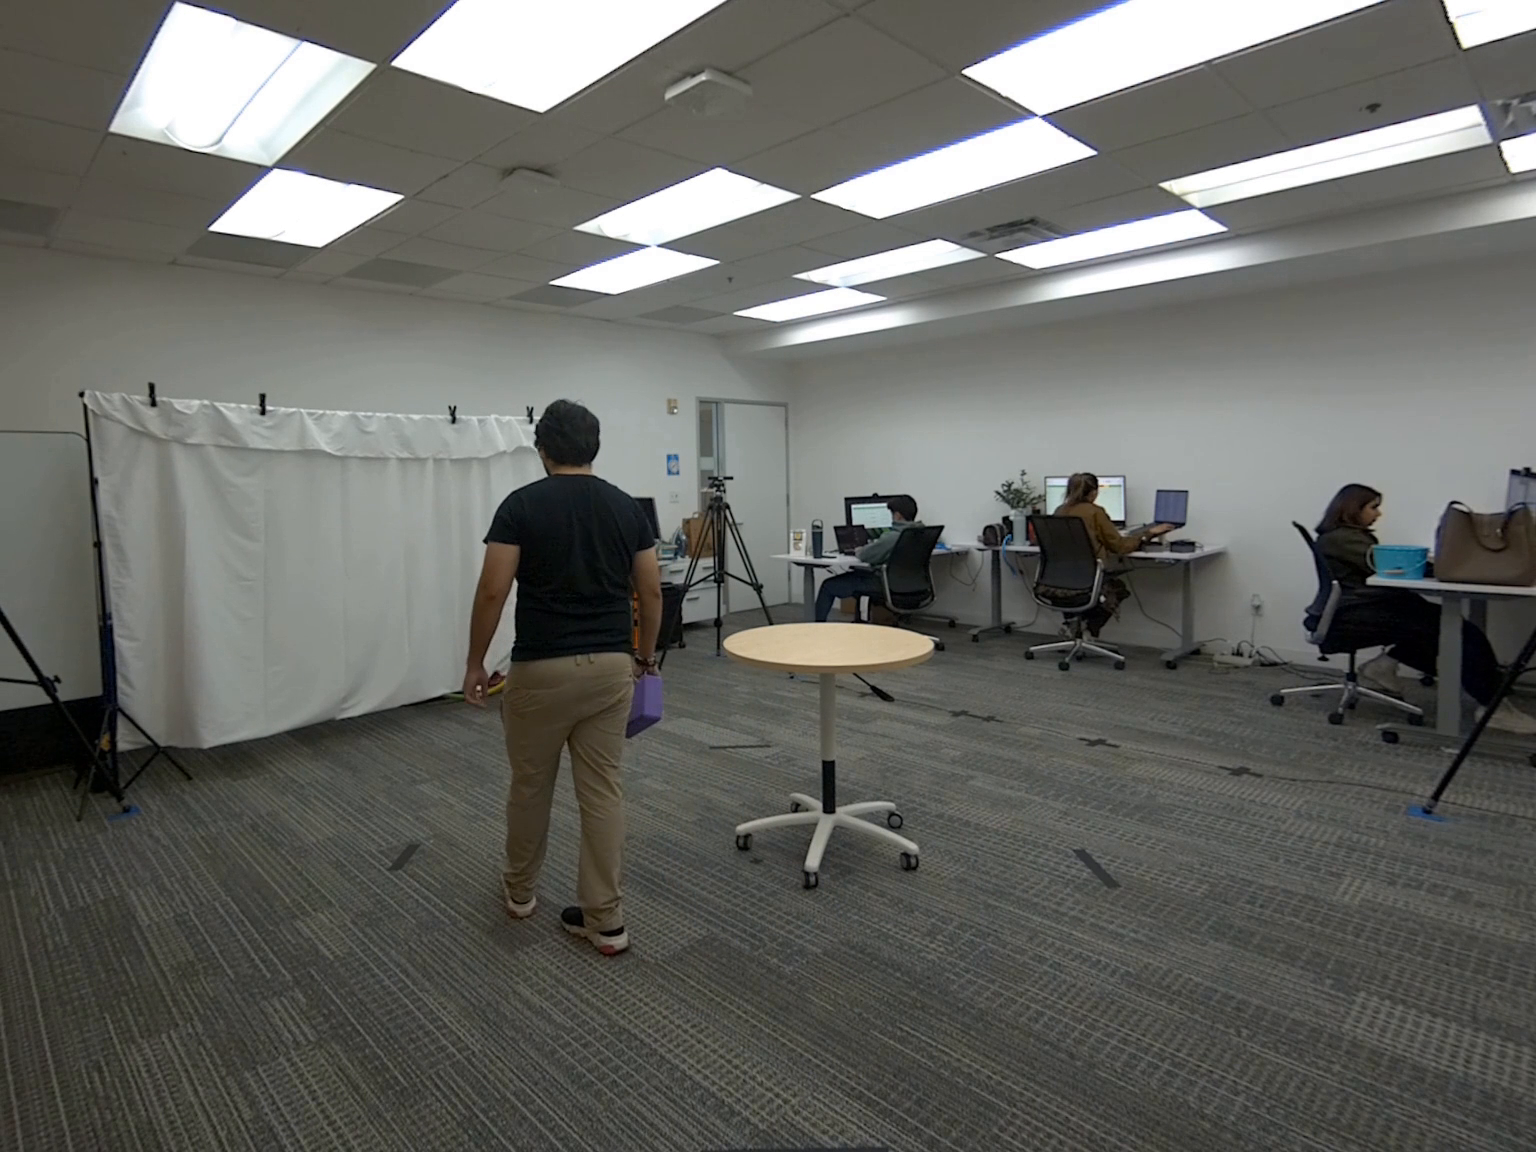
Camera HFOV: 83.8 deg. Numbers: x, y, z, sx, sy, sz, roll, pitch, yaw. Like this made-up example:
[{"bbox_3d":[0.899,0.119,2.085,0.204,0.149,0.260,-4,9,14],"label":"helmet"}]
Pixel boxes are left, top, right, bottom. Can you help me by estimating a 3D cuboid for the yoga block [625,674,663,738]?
[{"bbox_3d":[-0.442,0.437,2.847,0.074,0.153,0.230,16,-36,-31],"label":"yoga block"}]
